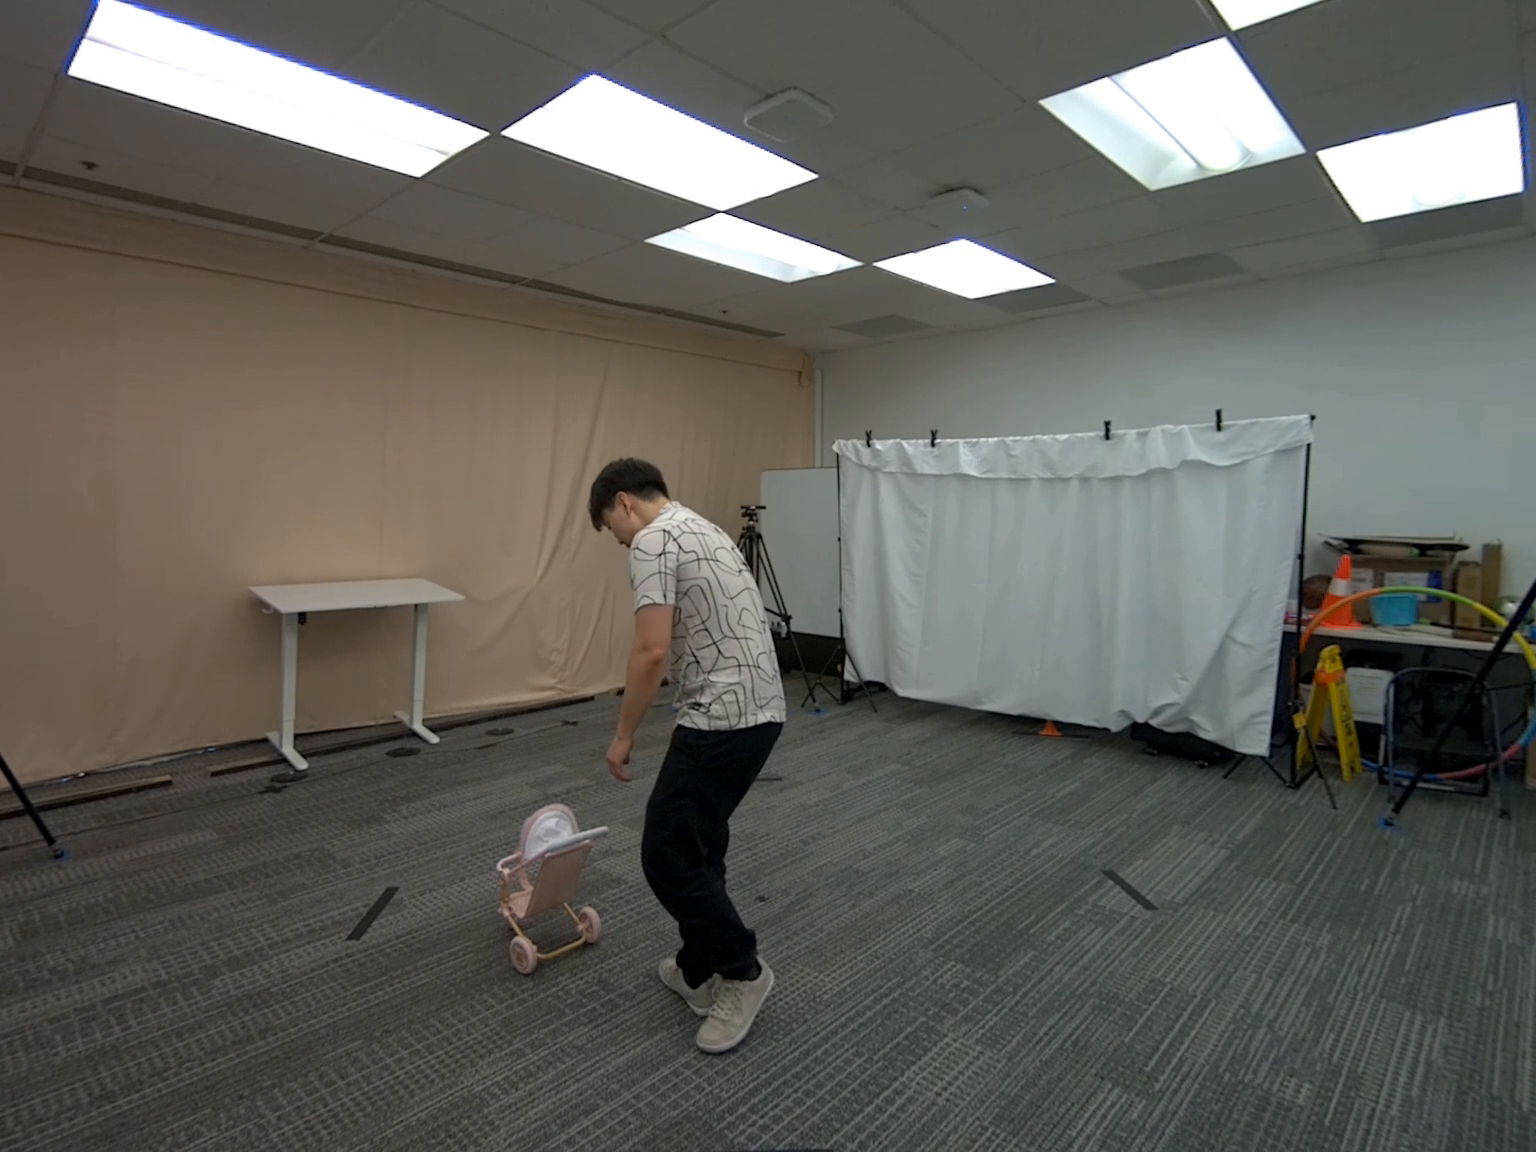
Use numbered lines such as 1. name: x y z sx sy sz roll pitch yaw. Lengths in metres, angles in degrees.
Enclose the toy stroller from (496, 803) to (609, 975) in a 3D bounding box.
1. toy stroller: -0.697 0.953 2.642 0.273 0.532 0.354 -2 20 -43
